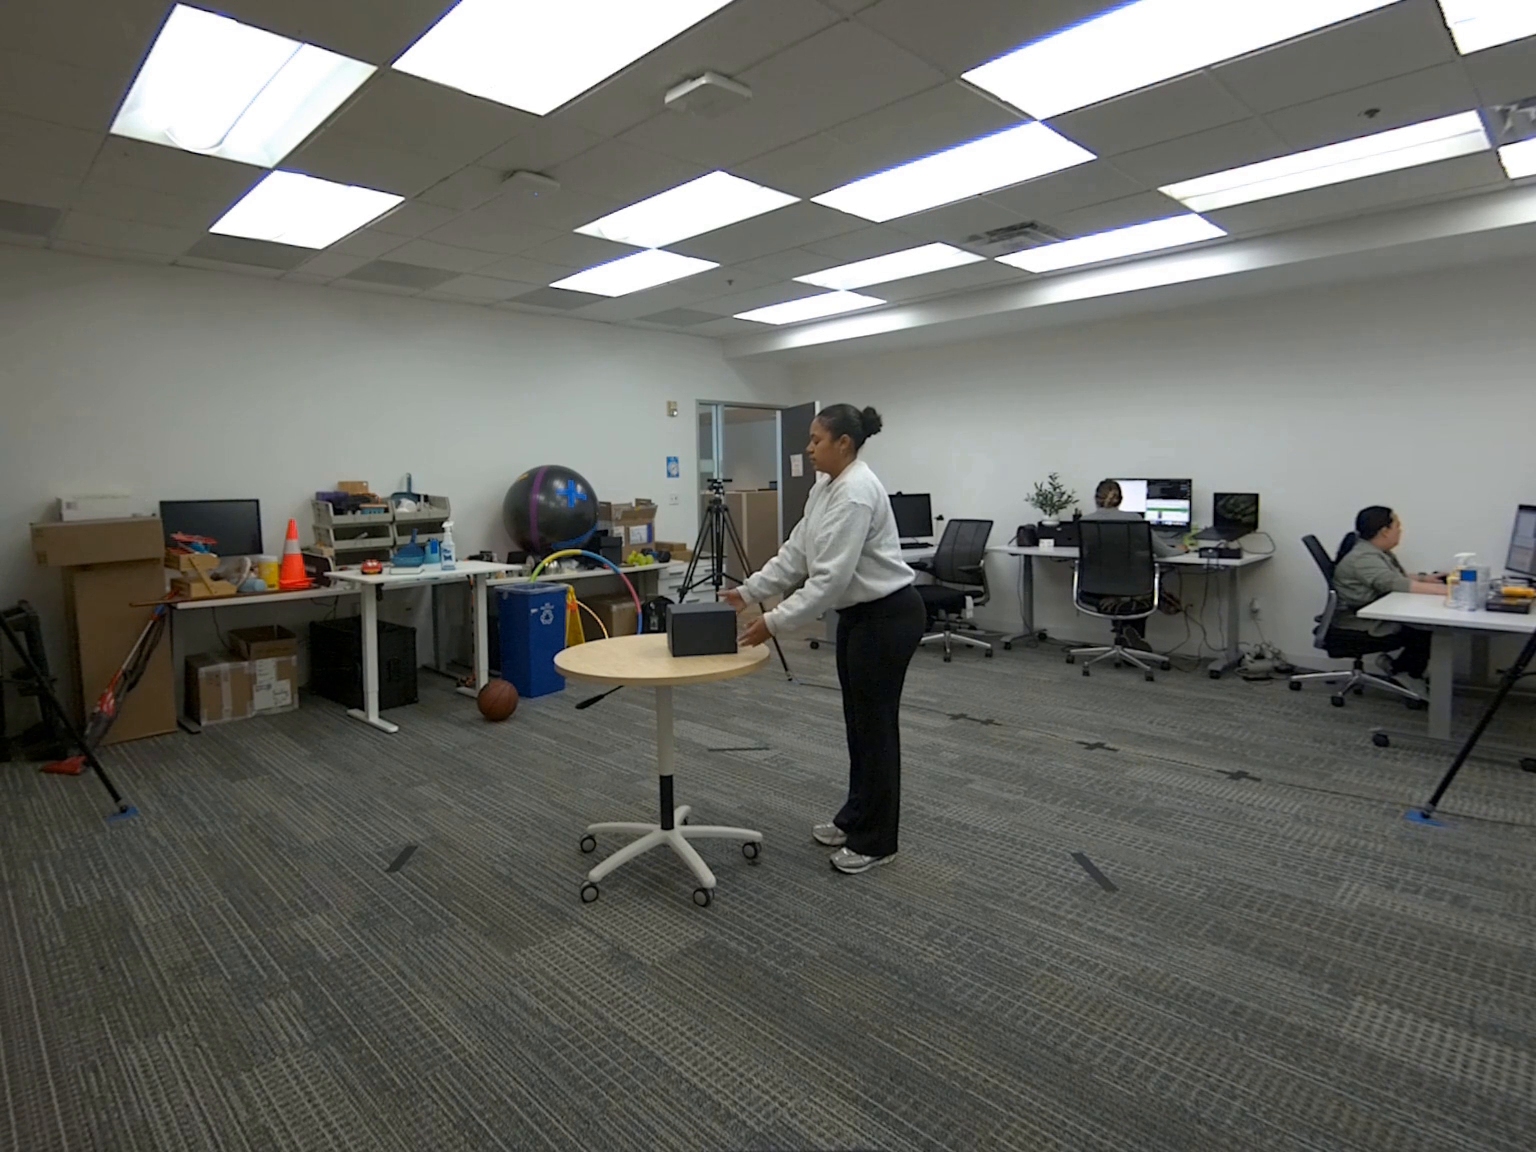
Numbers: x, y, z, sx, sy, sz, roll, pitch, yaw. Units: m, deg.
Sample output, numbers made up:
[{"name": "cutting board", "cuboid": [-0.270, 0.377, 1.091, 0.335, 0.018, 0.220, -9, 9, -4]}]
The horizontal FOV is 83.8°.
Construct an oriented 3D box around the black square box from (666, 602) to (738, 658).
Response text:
[{"name": "black square box", "cuboid": [-0.240, 0.183, 3.082, 0.226, 0.155, 0.220, -3, 7, -10]}]
